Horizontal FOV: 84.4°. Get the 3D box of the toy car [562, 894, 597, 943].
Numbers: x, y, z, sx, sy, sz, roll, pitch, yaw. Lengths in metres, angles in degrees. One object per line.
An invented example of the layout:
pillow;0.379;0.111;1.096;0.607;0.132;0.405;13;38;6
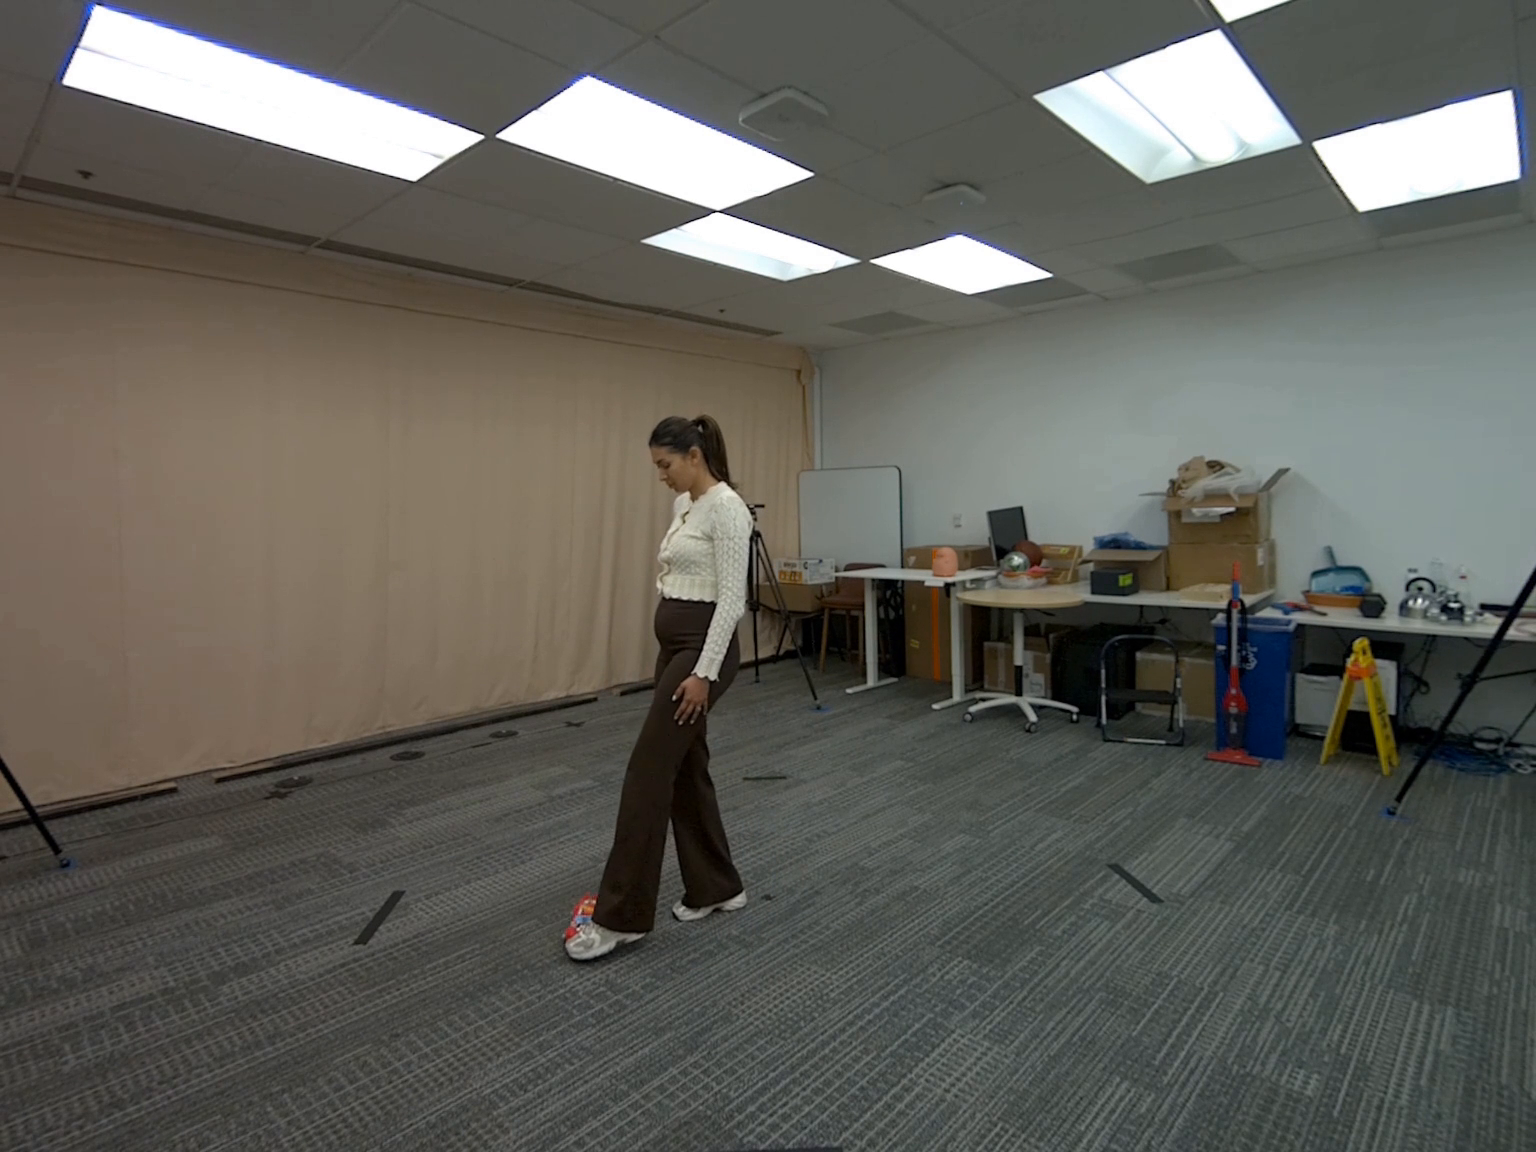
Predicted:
toy car;-0.590;1.144;2.788;0.130;0.082;0.257;-1;16;-3
